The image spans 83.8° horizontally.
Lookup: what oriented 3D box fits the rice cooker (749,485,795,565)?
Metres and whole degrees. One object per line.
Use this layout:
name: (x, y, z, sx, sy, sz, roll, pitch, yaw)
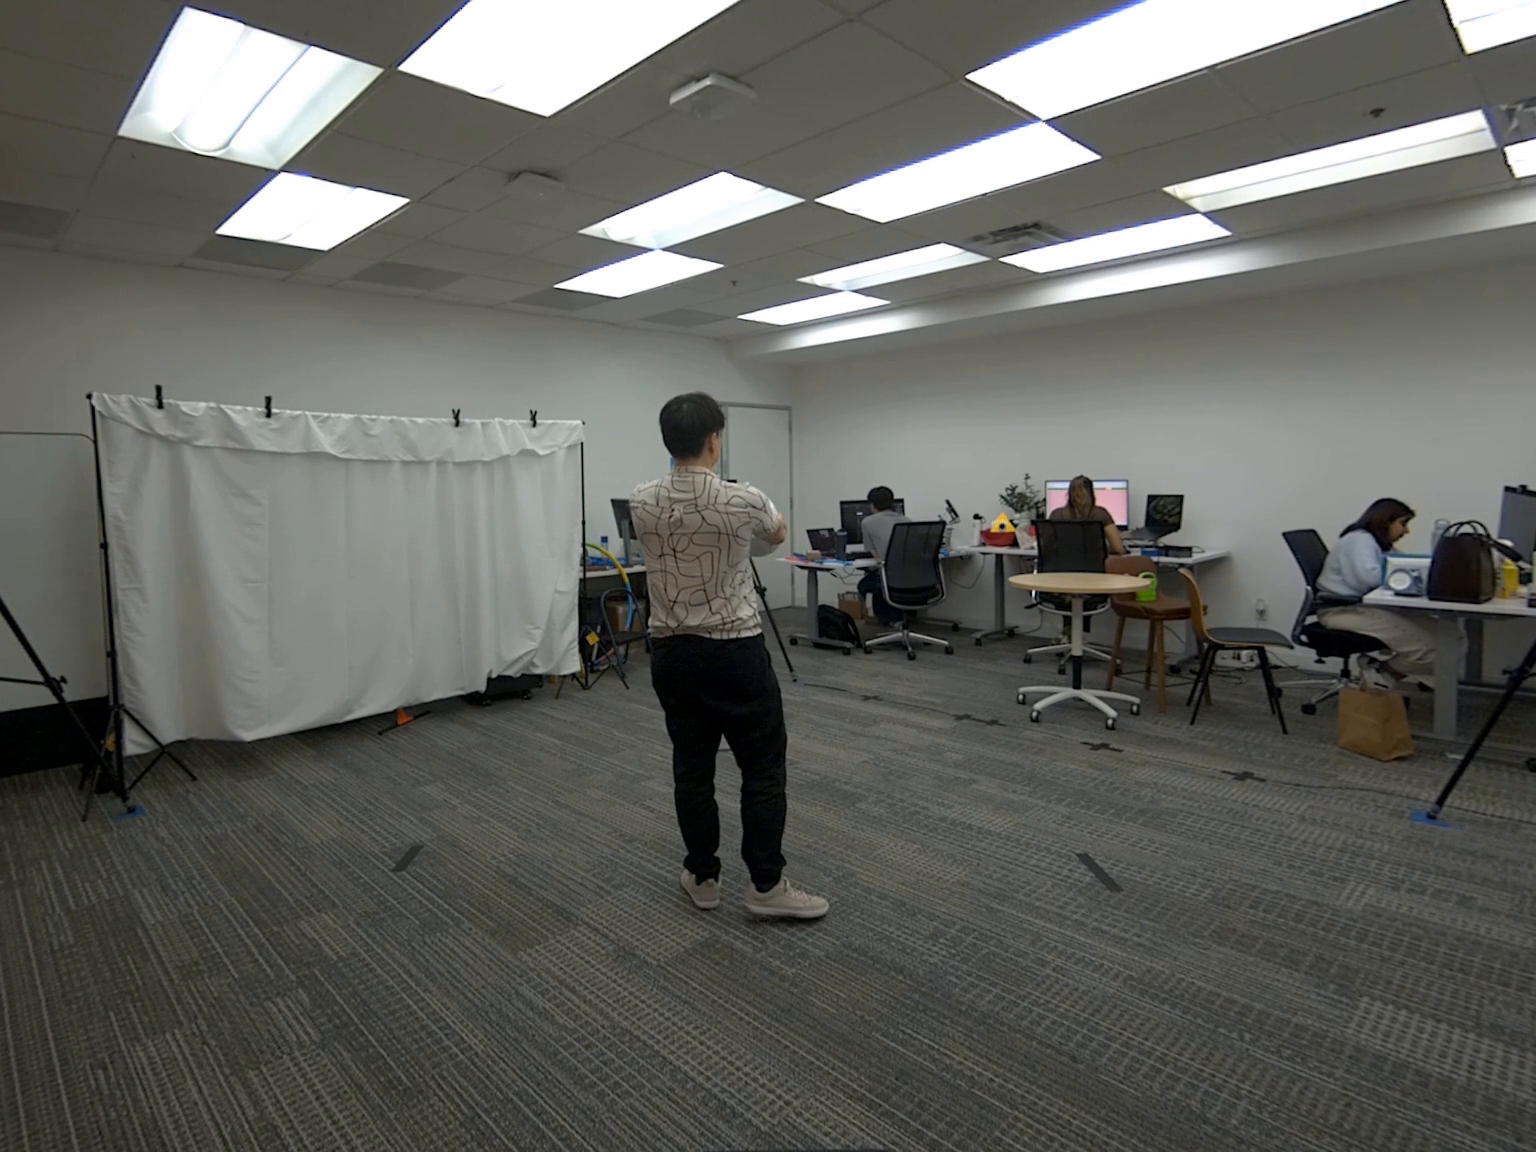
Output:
rice cooker: (-0.049, -0.201, 3.325, 0.222, 0.223, 0.225, 4, -21, 20)
